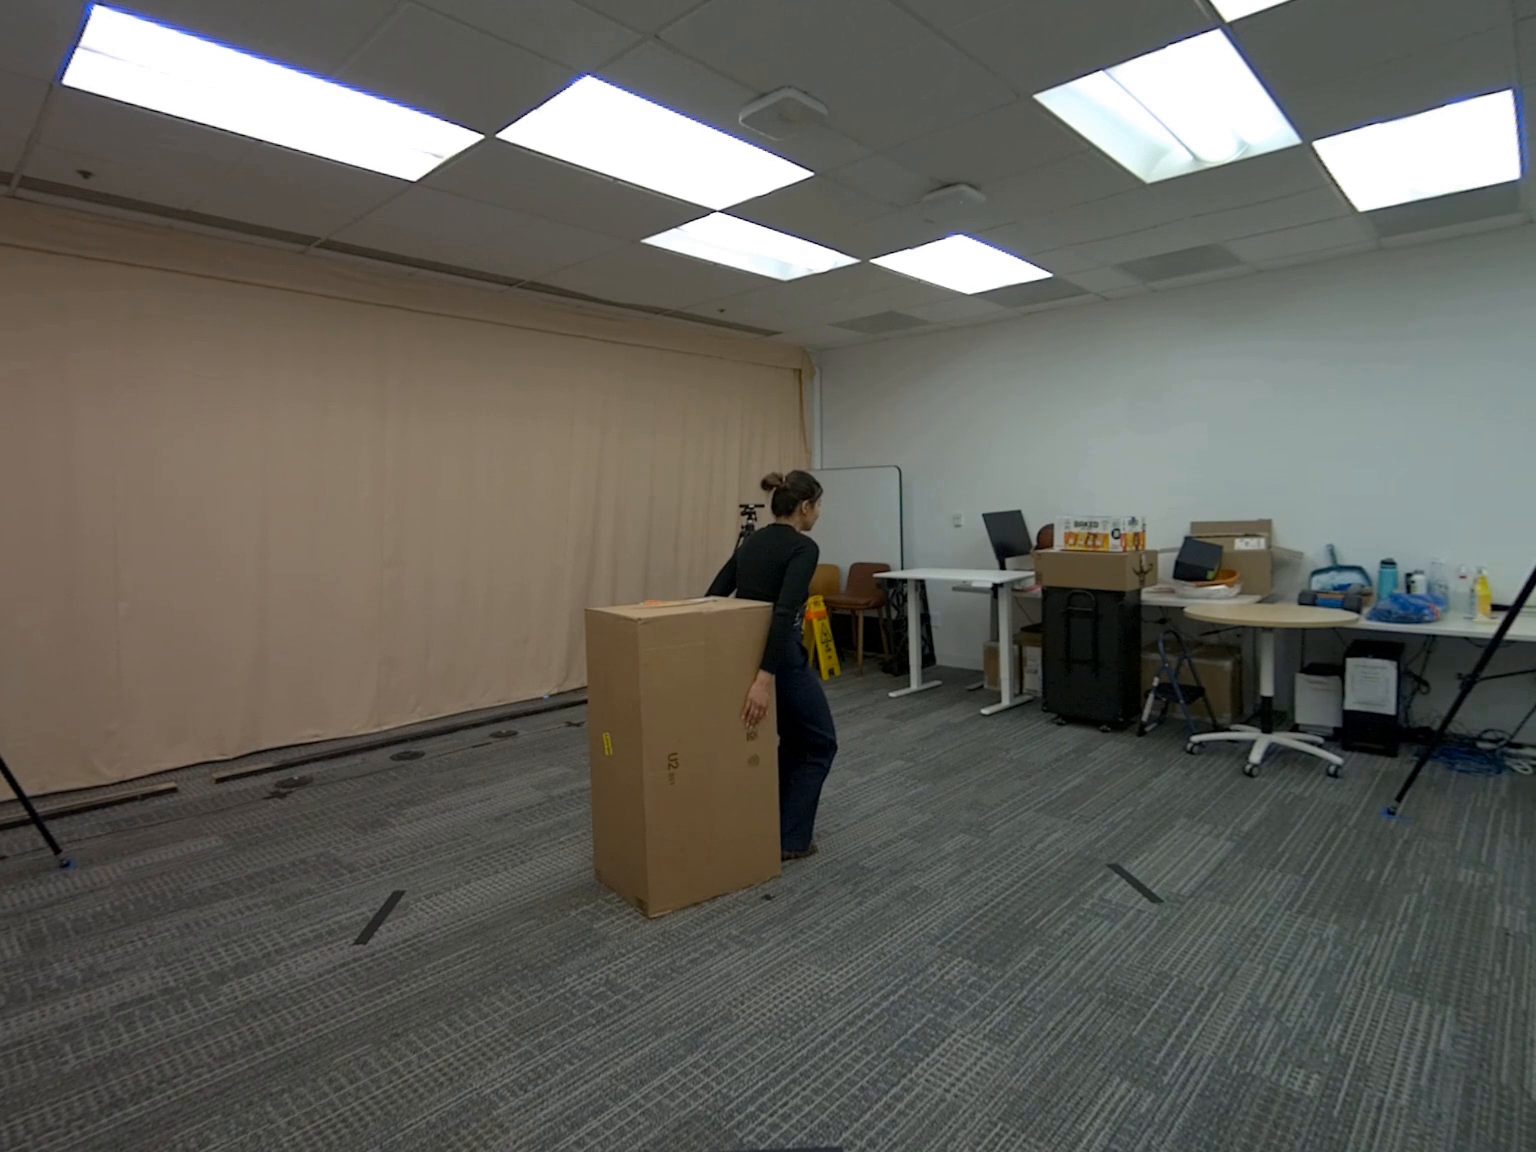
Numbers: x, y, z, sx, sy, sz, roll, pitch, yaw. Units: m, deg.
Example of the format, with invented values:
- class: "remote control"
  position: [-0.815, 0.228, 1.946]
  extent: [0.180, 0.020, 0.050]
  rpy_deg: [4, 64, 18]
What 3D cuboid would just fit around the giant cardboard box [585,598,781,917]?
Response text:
- class: "giant cardboard box"
  position: [-0.322, 0.622, 3.141]
  extent: [0.561, 1.024, 0.439]
  rpy_deg: [-4, 4, -35]
